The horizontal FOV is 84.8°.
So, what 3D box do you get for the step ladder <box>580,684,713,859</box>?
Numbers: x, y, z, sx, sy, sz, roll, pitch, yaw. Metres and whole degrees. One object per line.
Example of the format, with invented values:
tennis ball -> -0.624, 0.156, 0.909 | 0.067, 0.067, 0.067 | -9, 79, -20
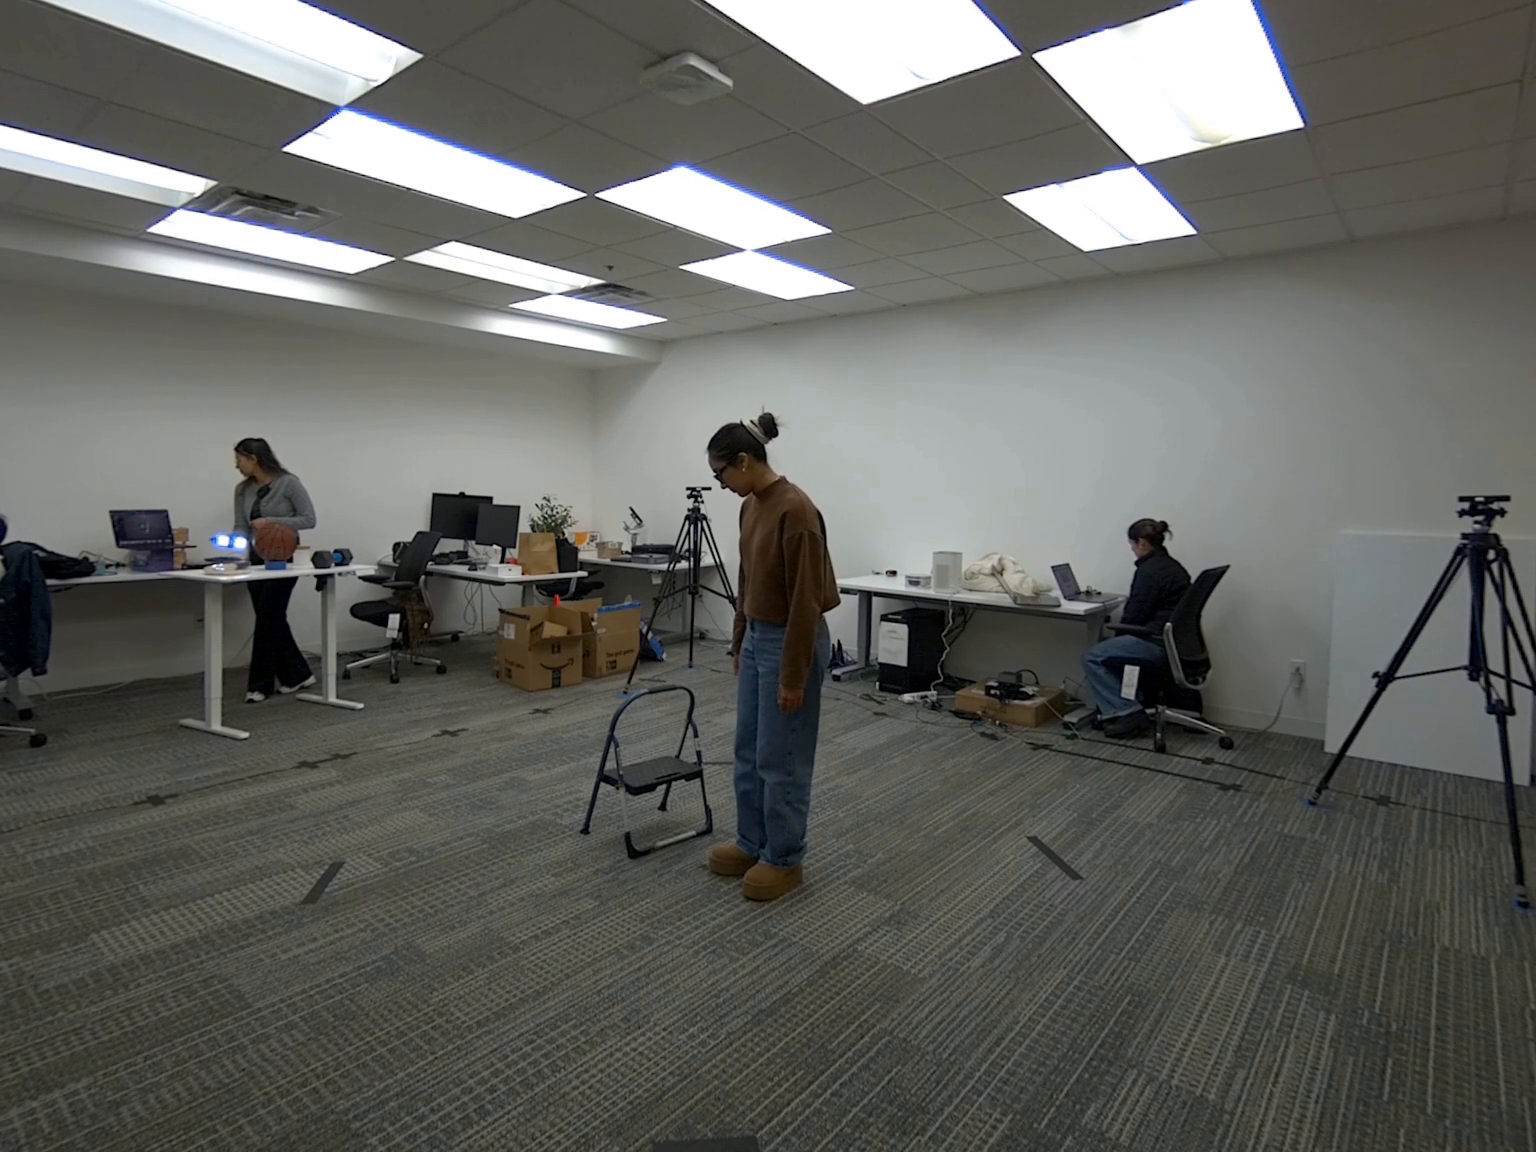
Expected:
step ladder -> -0.492, 0.726, 3.412 | 0.417, 0.604, 0.361 | -3, 5, -44
